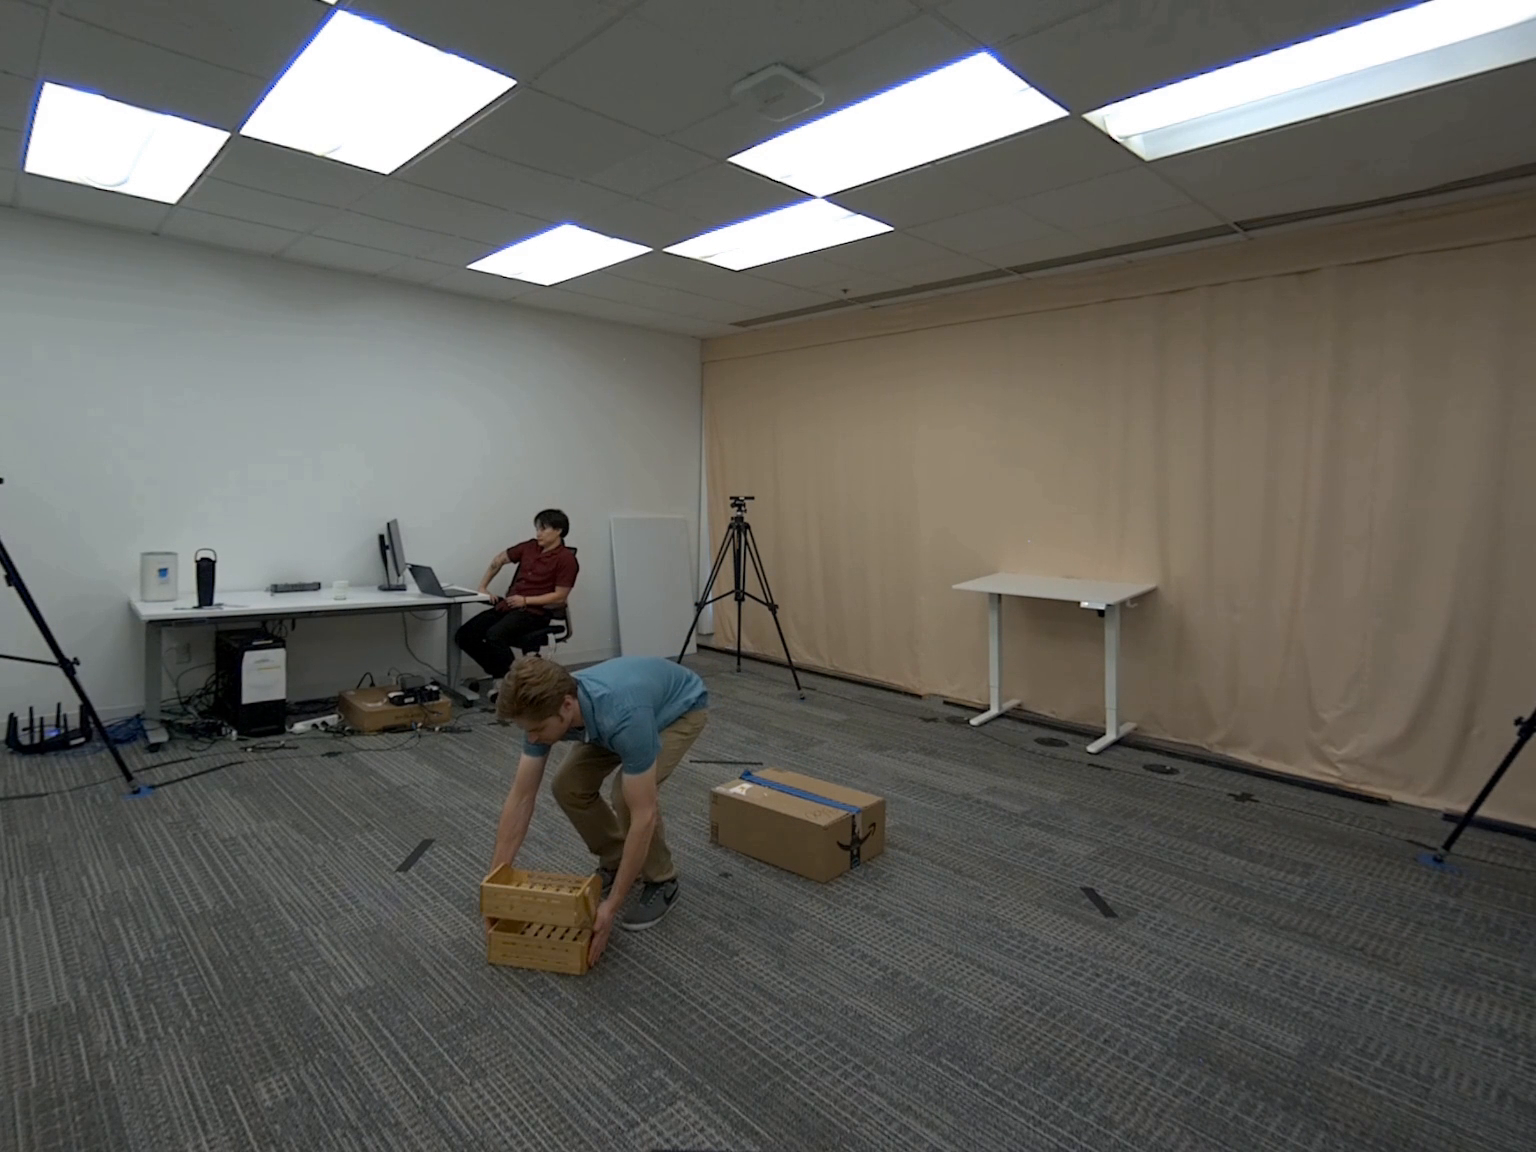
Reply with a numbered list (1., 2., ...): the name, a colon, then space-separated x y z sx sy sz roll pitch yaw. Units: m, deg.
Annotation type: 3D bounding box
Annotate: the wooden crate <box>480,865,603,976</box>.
1. wooden crate: -0.669 1.004 2.556 0.327 0.273 0.300 1 3 8
